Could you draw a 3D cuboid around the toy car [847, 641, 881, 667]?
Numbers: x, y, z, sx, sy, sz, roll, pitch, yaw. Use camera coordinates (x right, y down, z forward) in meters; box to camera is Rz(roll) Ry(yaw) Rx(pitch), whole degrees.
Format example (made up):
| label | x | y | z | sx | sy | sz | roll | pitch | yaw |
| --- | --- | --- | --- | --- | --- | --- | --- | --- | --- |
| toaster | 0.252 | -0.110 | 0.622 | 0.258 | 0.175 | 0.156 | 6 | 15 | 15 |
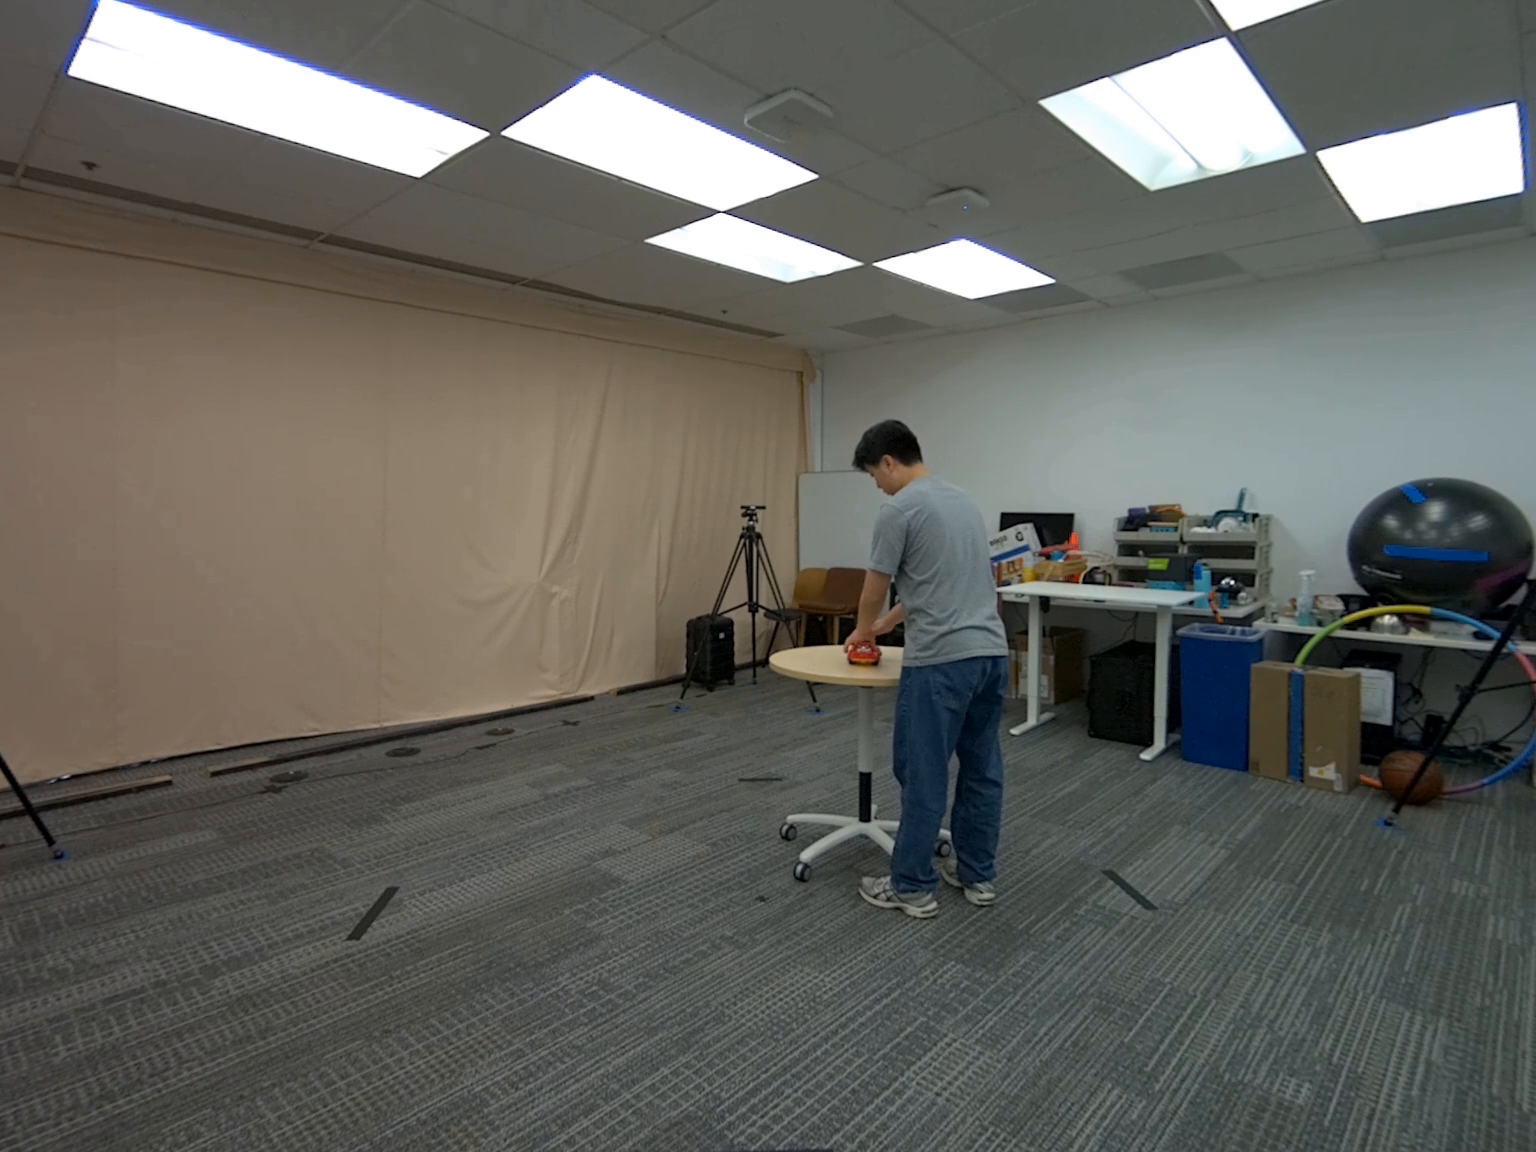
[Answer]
| label | x | y | z | sx | sy | sz | roll | pitch | yaw |
| --- | --- | --- | --- | --- | --- | --- | --- | --- | --- |
| toy car | 0.386 | 0.305 | 3.273 | 0.132 | 0.083 | 0.250 | 2 | -5 | 10 |
